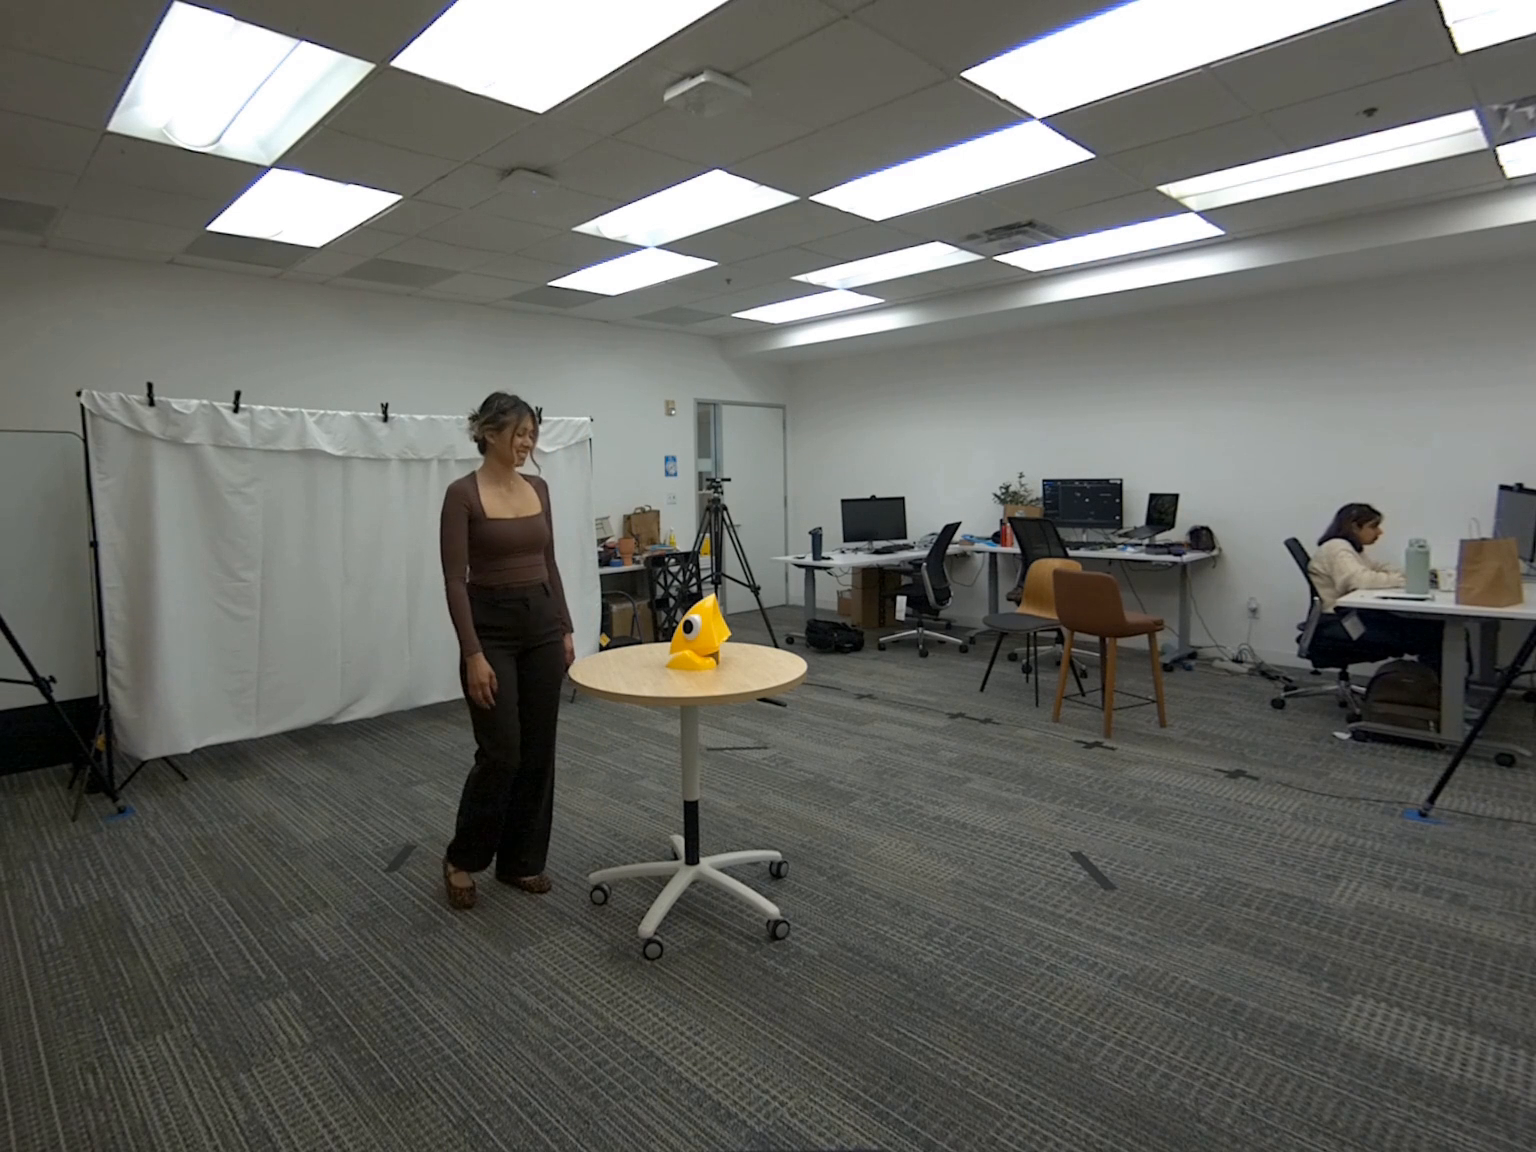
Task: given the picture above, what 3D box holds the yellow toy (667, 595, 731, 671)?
[{"bbox_3d":[-0.230,0.168,2.781,0.195,0.230,0.203,1,5,11],"label":"yellow toy"}]
